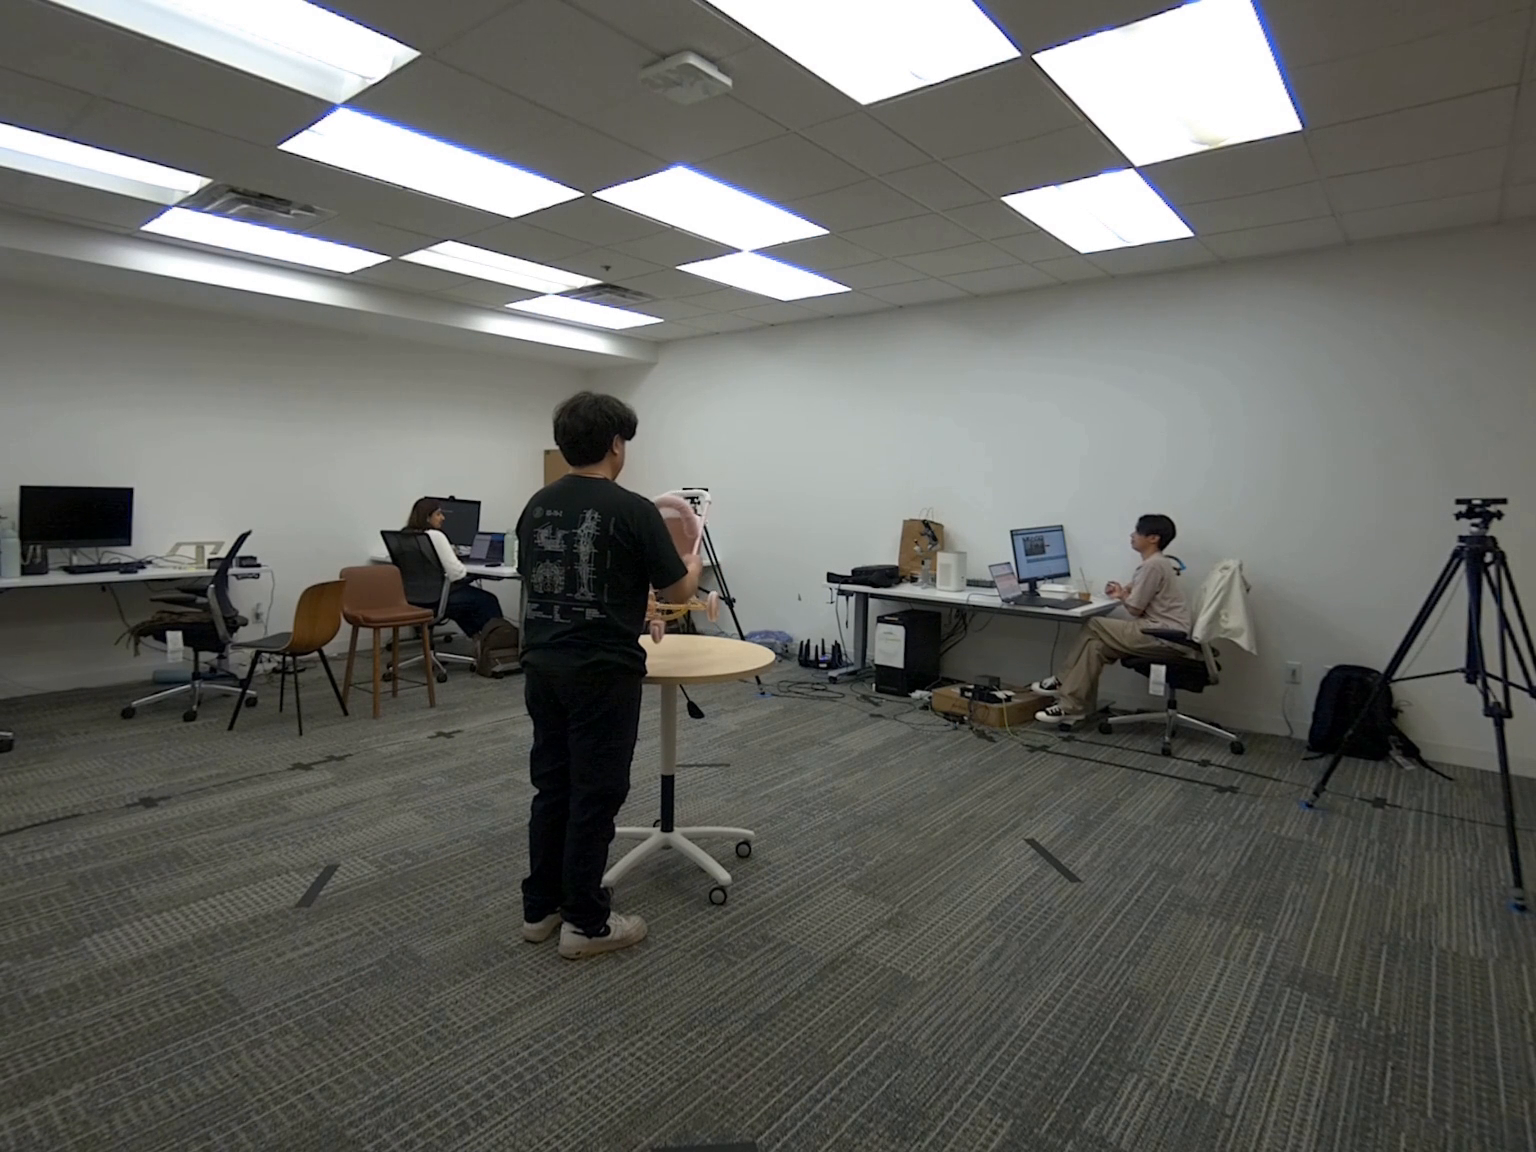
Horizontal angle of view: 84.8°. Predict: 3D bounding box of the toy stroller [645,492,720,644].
[{"bbox_3d":[-0.355,-0.043,2.969,0.287,0.535,0.334,1,-1,17],"label":"toy stroller"}]
